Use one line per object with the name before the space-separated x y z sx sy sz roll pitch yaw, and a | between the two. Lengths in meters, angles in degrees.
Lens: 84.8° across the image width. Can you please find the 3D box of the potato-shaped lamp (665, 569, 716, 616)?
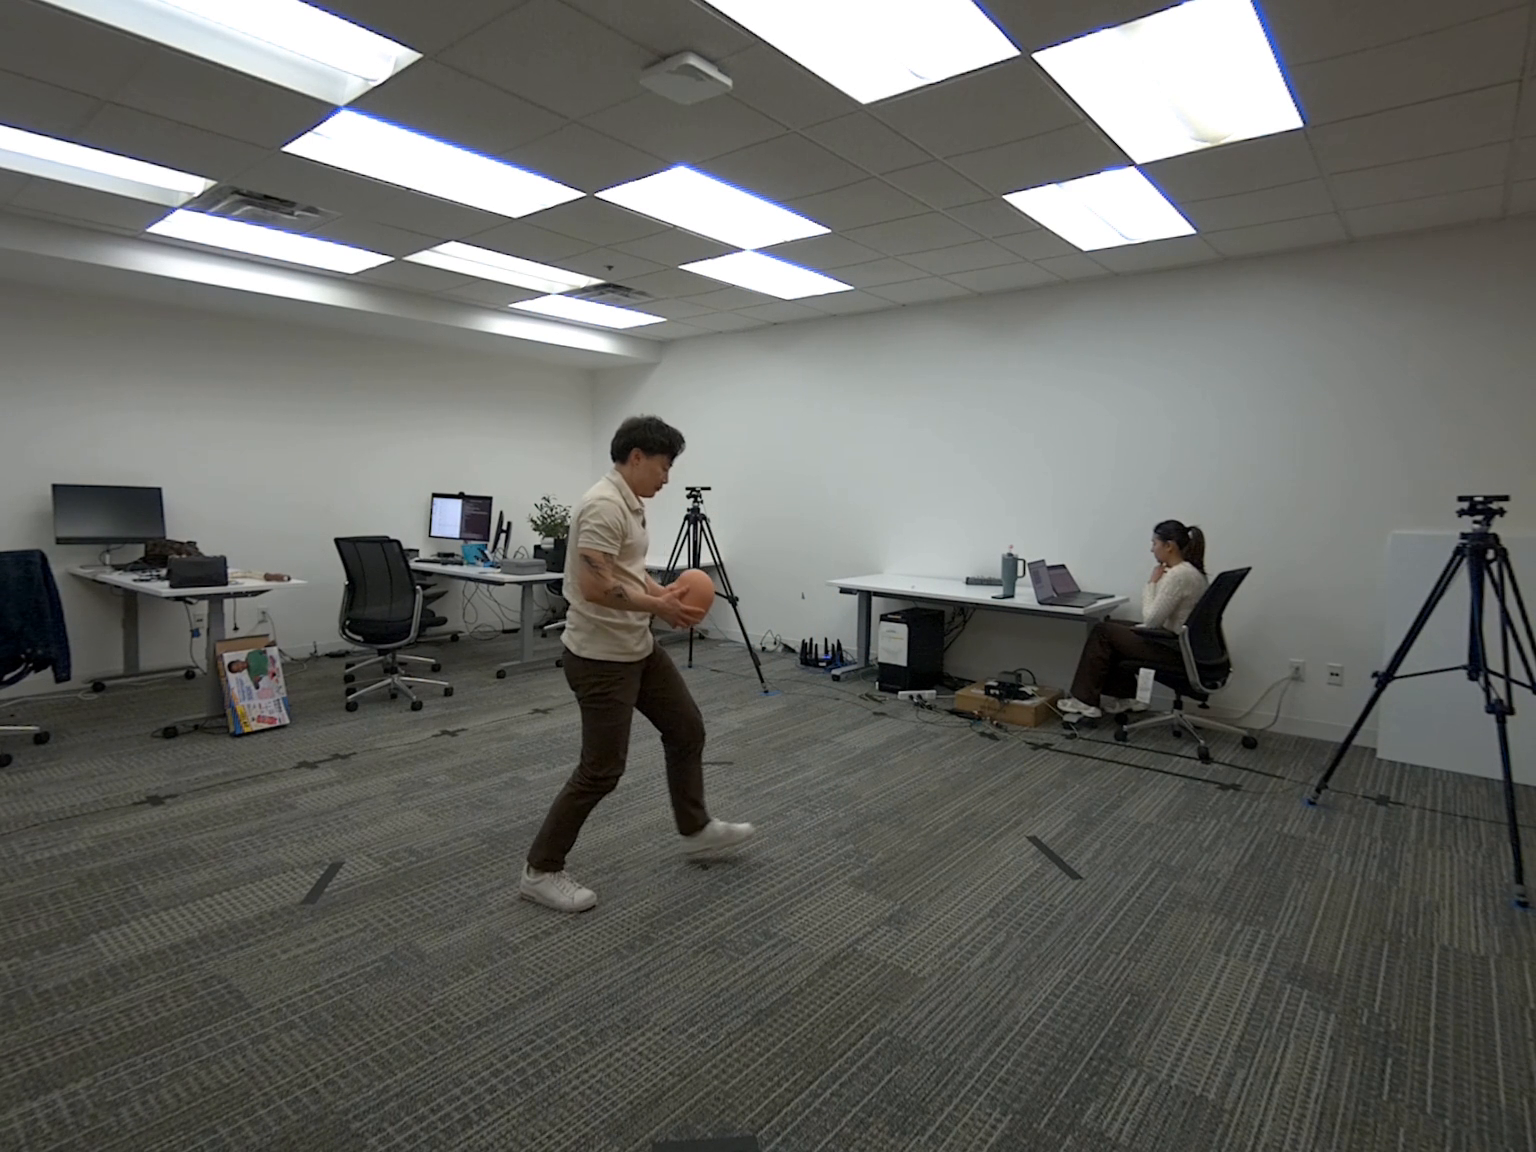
potato-shaped lamp | -0.278 0.080 2.901 0.174 0.196 0.163 24 19 12
